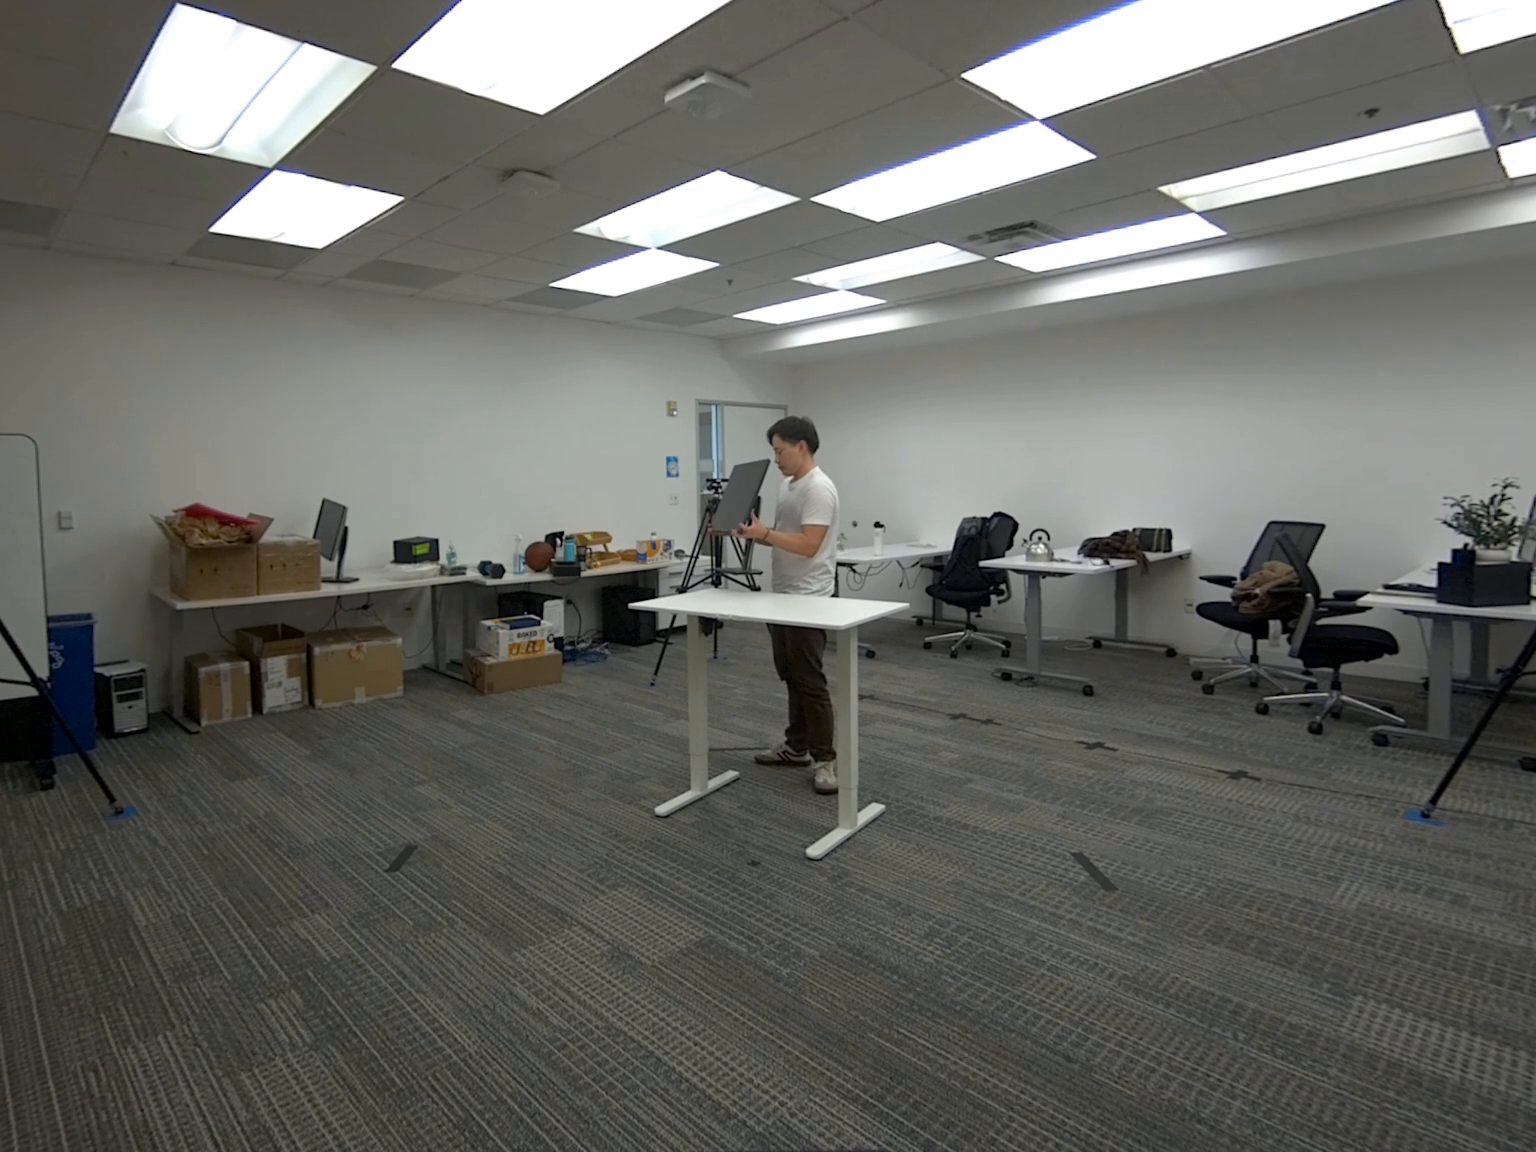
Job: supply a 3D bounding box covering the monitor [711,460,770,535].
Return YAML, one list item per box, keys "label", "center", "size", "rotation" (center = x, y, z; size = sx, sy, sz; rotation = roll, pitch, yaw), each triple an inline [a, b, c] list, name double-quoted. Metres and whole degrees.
- label: "monitor"
  center: [-0.114, -0.277, 3.984]
  size: [0.184, 0.522, 0.549]
  rotation: [6, 1, -18]
